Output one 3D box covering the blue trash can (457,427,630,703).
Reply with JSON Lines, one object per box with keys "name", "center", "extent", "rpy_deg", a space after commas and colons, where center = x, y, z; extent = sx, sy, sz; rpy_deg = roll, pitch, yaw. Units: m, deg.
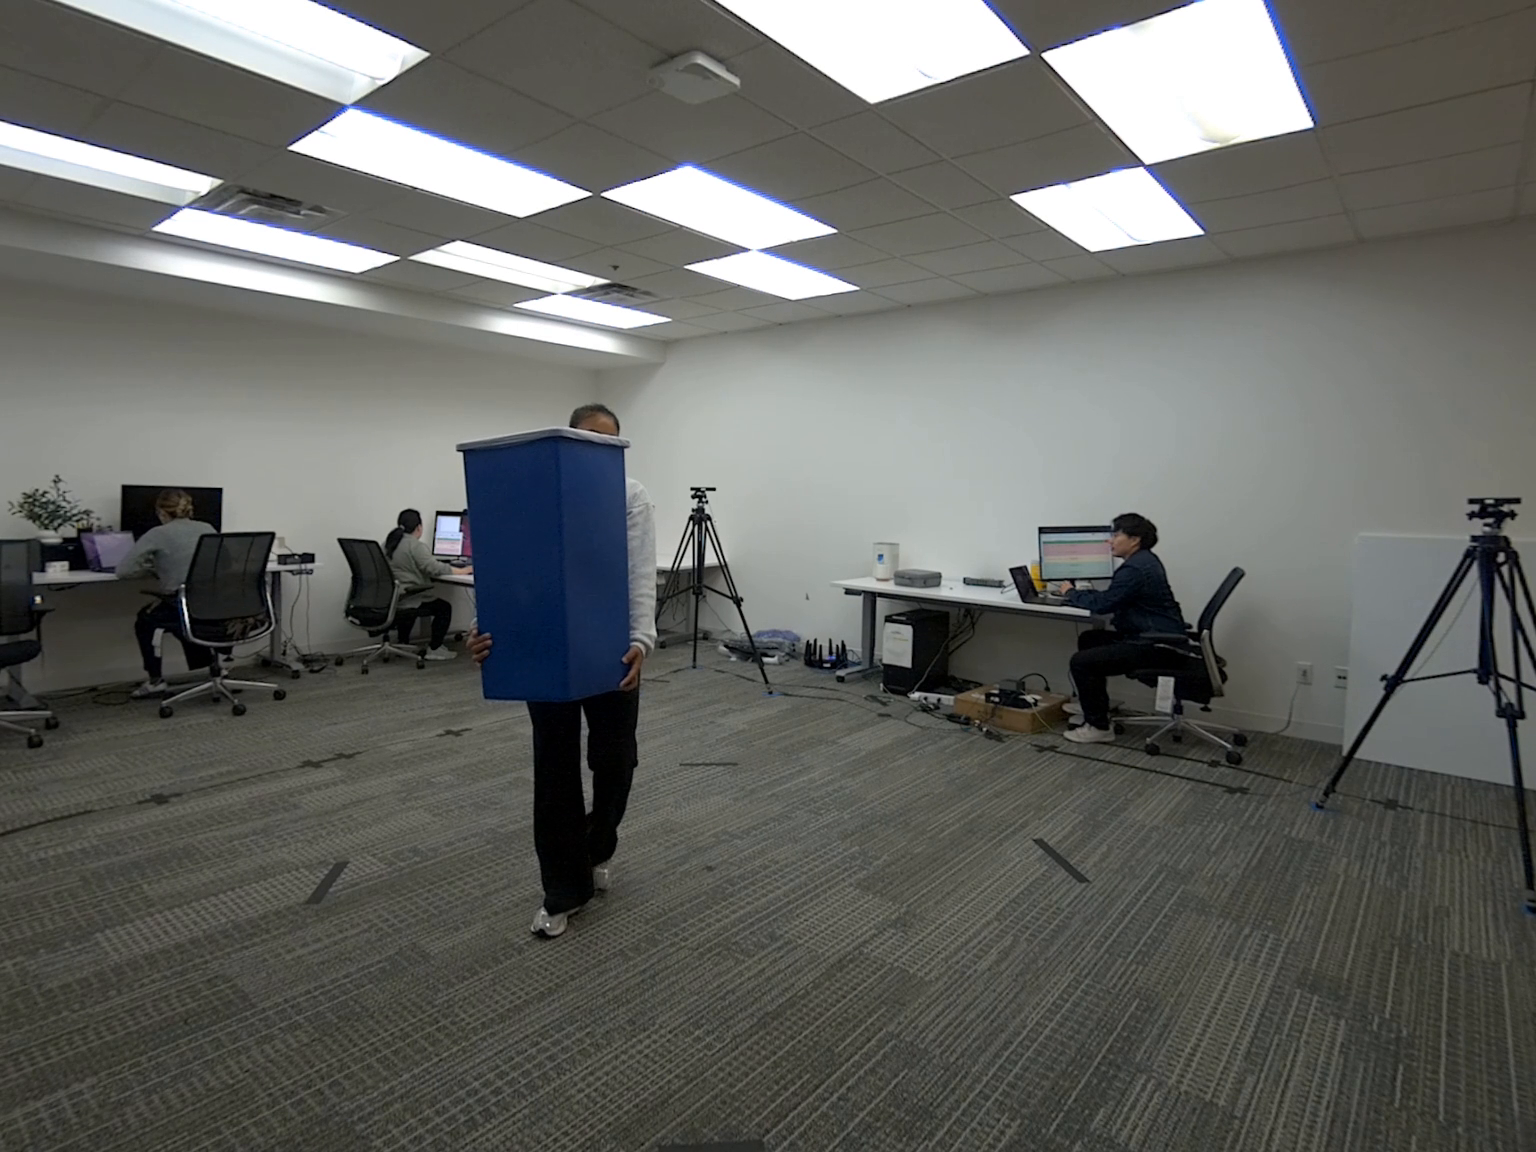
{"name": "blue trash can", "center": [-0.631, -0.036, 2.415], "extent": [0.383, 0.715, 0.368], "rpy_deg": [-4, -2, 25]}
